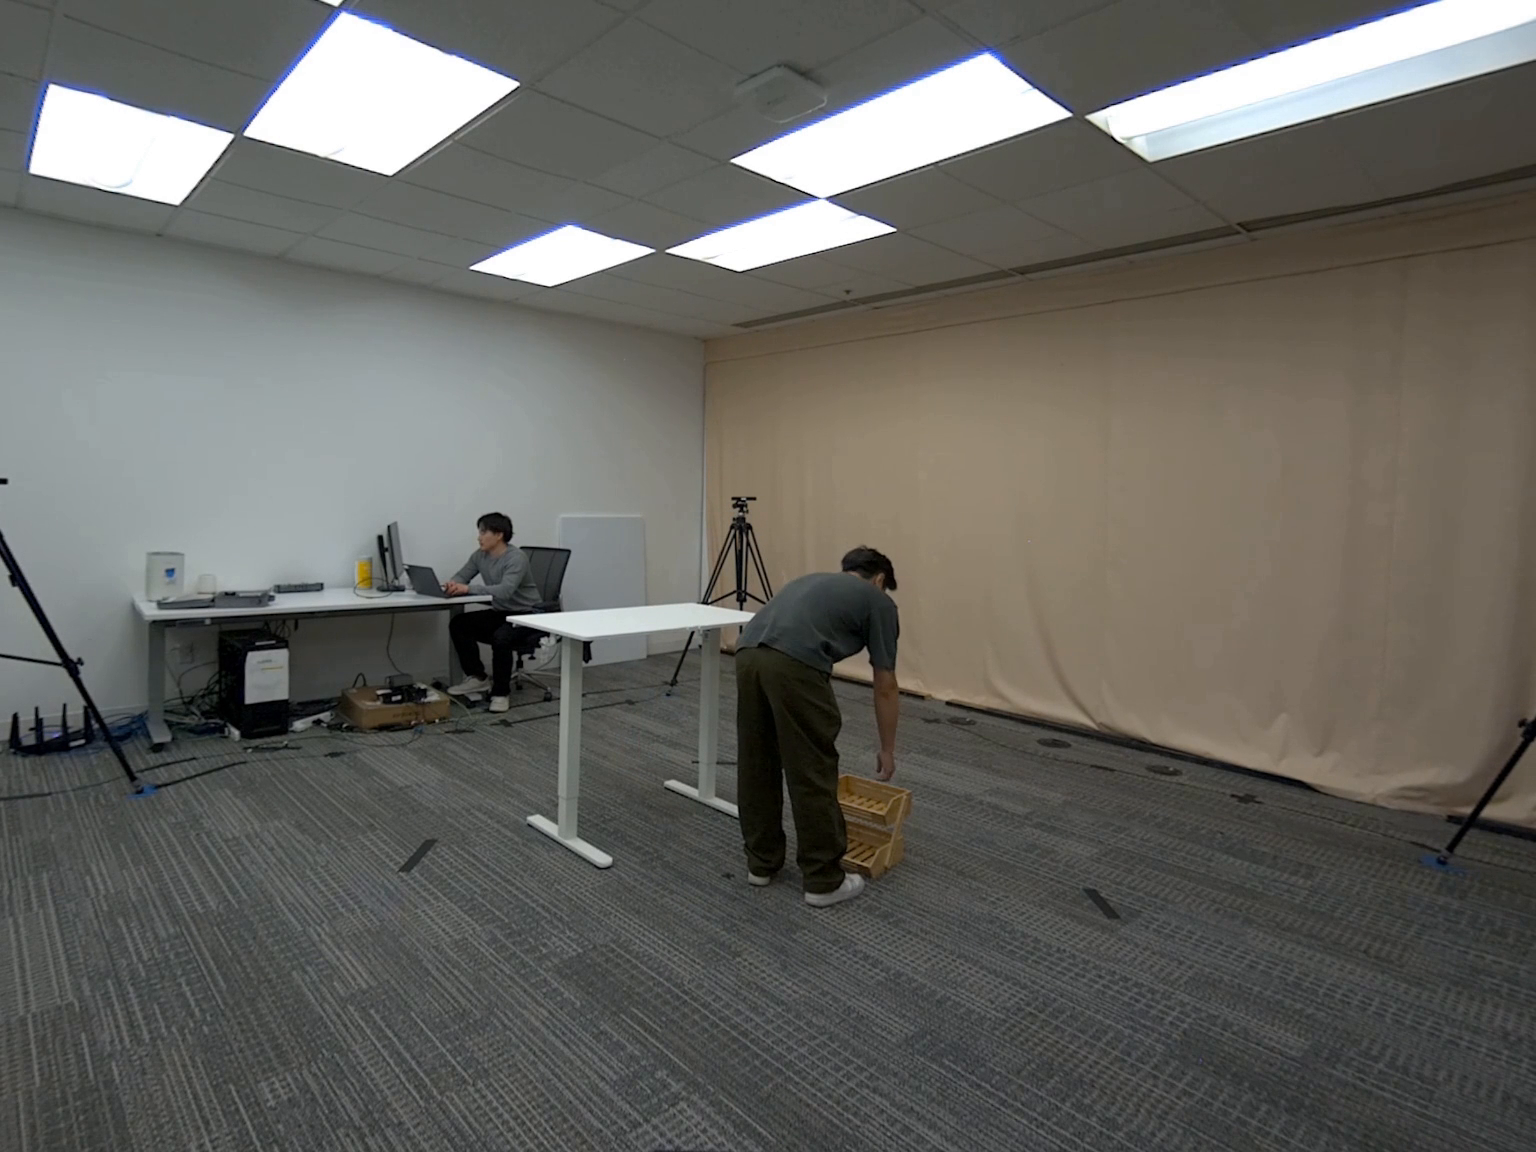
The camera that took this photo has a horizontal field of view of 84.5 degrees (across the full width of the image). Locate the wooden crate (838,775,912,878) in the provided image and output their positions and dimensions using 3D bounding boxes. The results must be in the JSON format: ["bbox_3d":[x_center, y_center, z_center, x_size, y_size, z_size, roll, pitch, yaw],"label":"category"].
[{"bbox_3d":[0.348,0.969,3.302,0.332,0.273,0.295,5,4,38],"label":"wooden crate"}]
